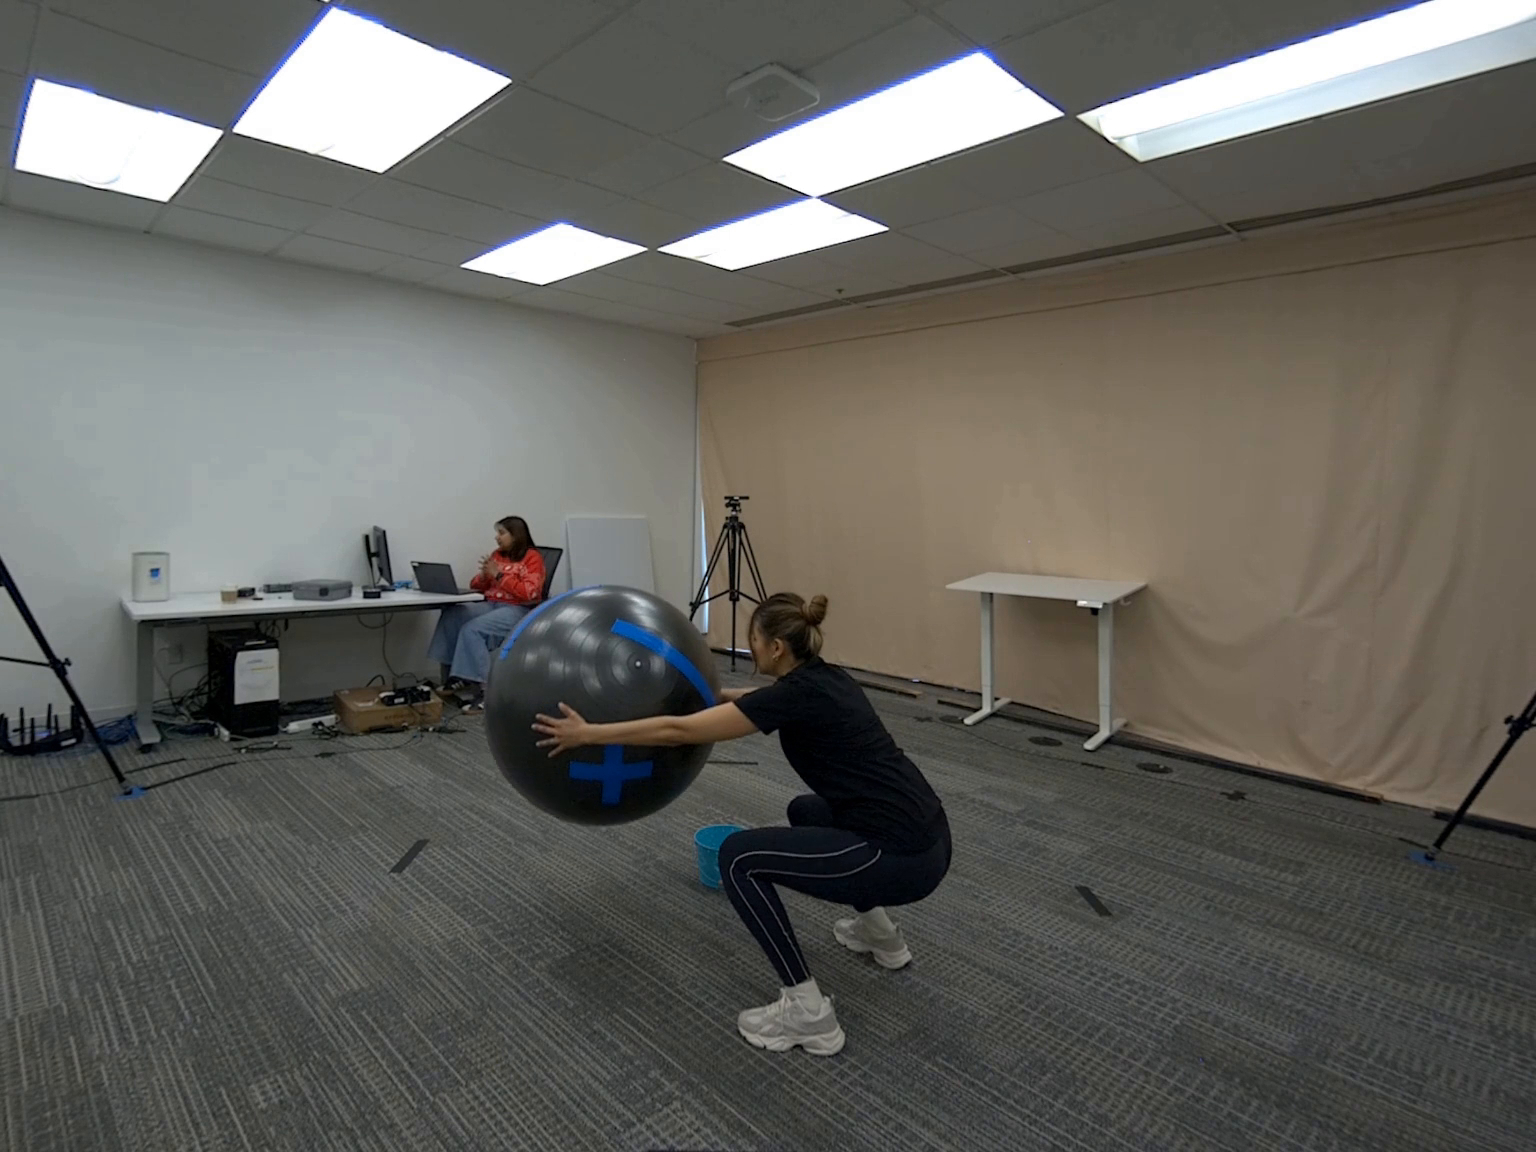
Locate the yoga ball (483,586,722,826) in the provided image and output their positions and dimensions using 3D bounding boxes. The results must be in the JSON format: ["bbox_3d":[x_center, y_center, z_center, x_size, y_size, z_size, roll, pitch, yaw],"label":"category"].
[{"bbox_3d":[-0.532,0.409,2.717,0.757,0.756,0.761,1,4,-1],"label":"yoga ball"}]
